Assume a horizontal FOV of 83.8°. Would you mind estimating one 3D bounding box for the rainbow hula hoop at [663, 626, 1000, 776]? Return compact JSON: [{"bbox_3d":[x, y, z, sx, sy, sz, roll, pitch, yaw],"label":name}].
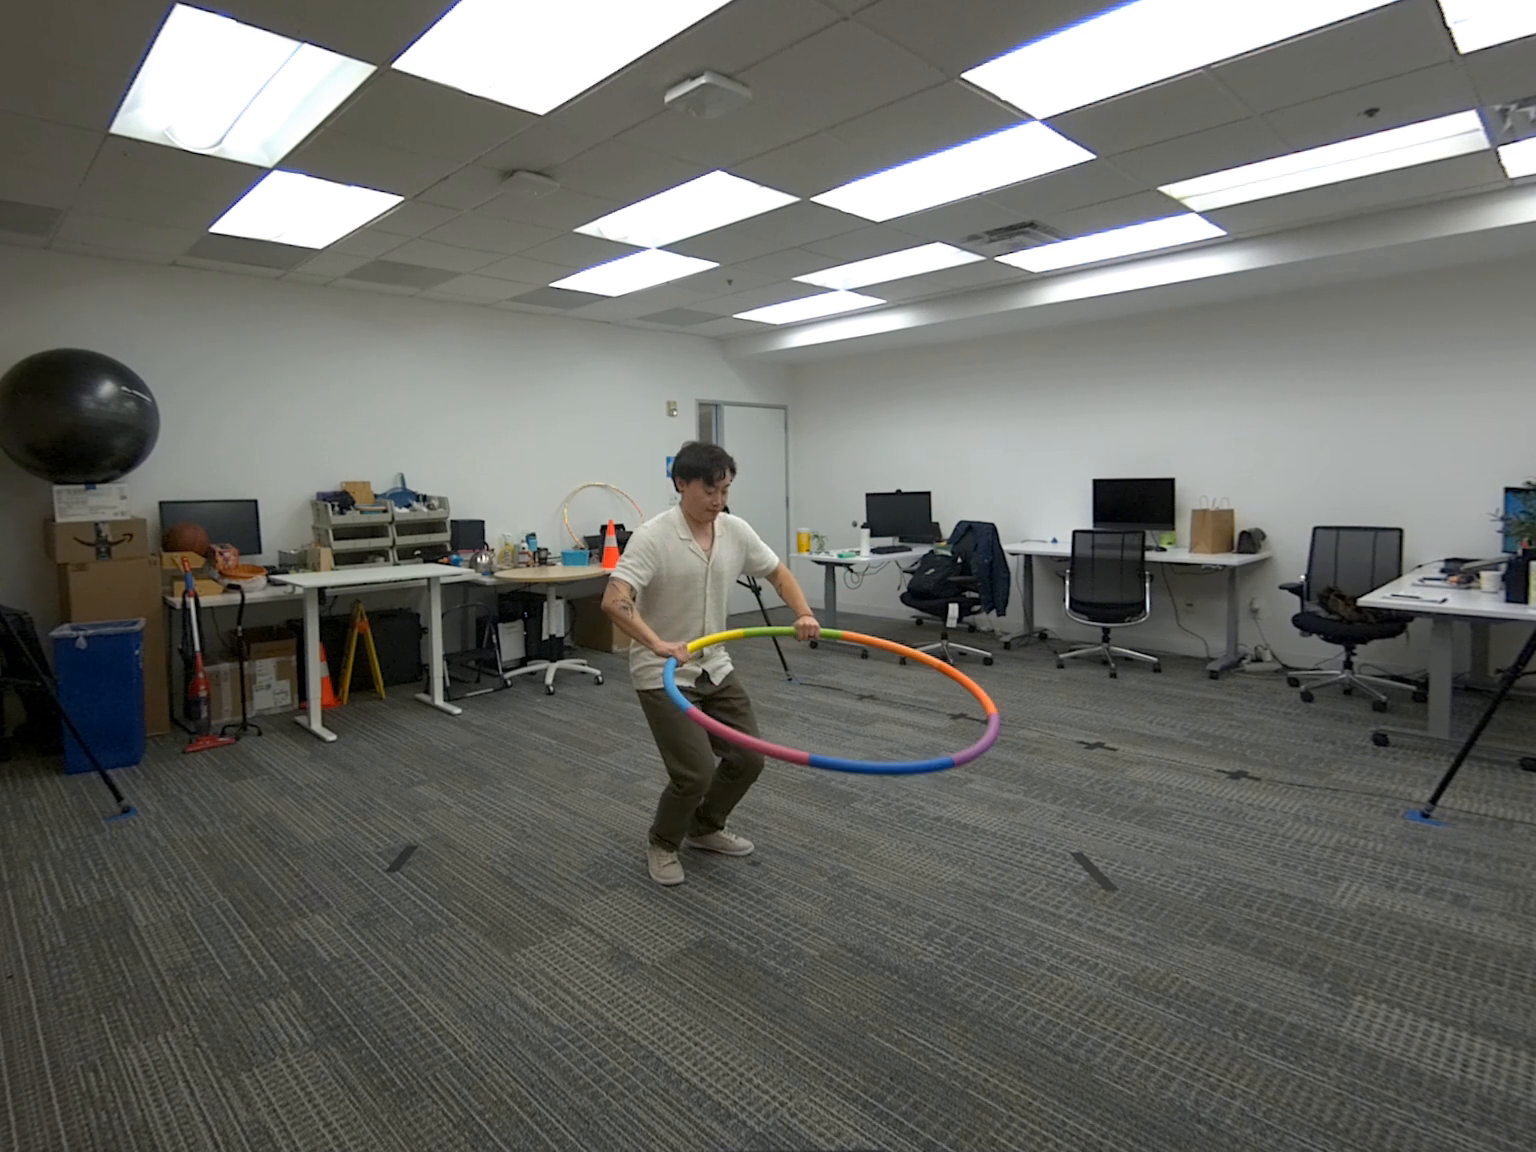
[{"bbox_3d":[0.176,0.322,2.550,0.976,0.035,0.993,5,16,-3],"label":"rainbow hula hoop"}]
